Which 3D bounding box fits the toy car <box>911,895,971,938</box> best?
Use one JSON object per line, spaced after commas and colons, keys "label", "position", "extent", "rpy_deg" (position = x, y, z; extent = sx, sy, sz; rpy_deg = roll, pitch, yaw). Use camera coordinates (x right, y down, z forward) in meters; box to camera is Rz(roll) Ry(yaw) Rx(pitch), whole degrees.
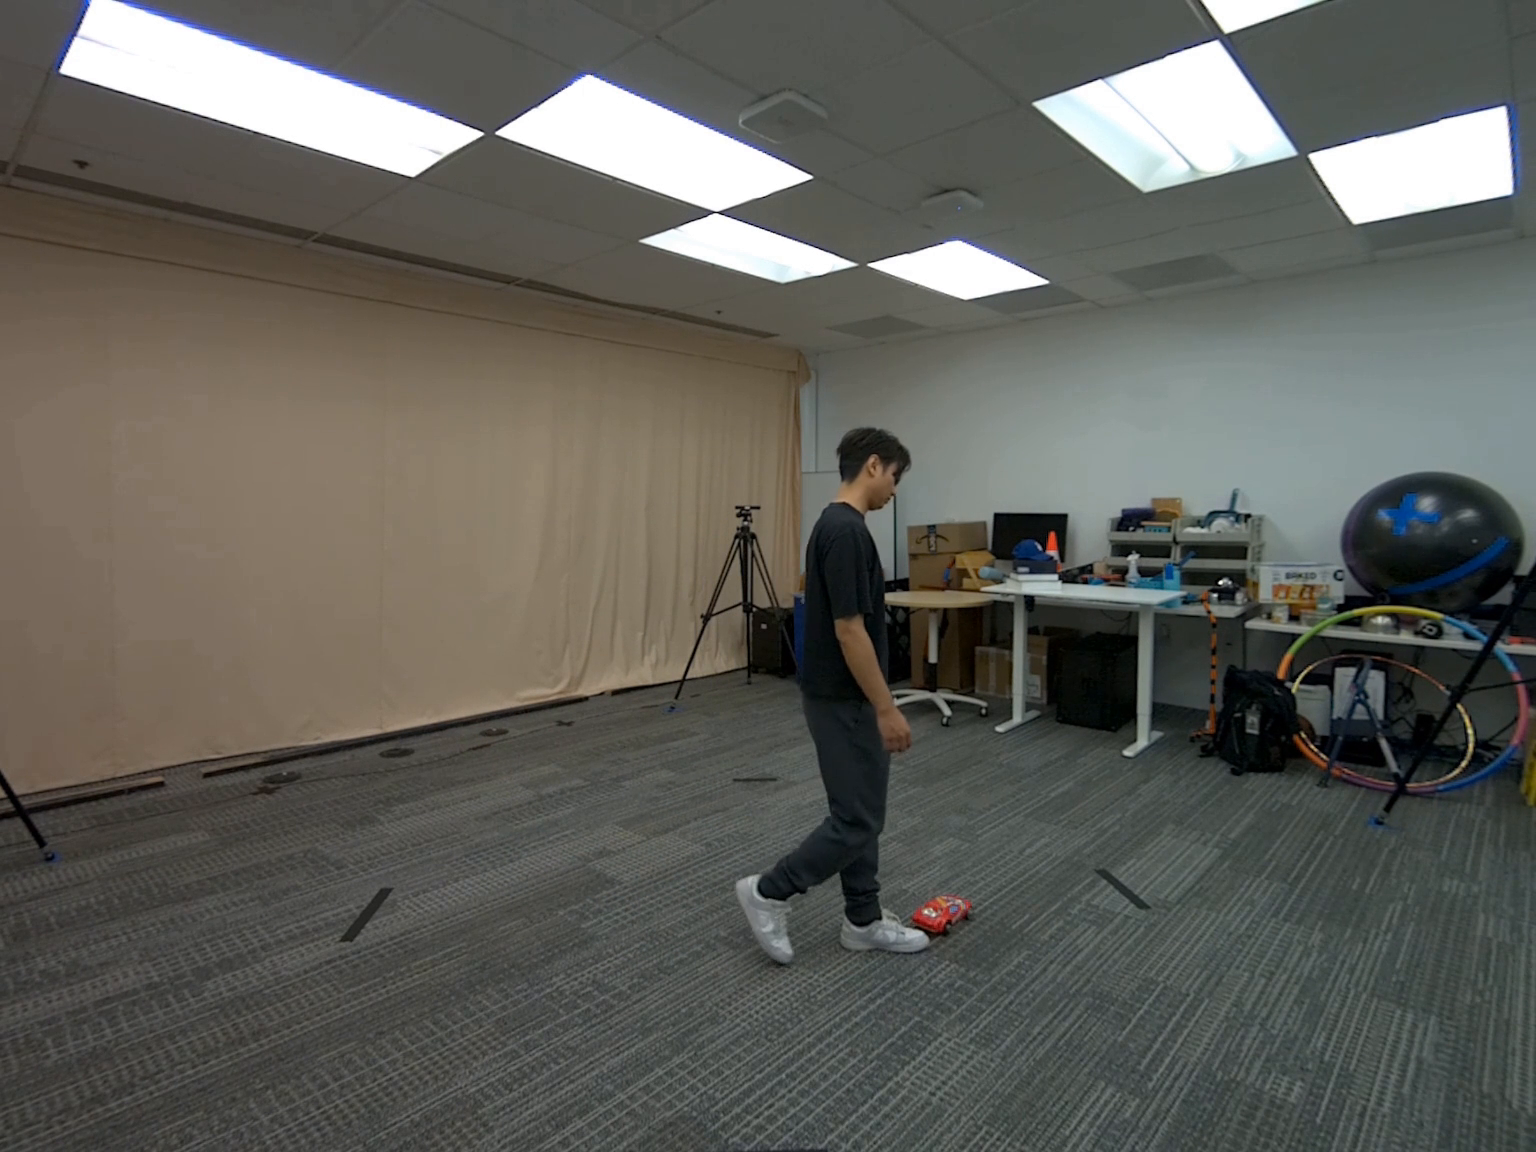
{"label": "toy car", "position": [0.582, 1.126, 2.794], "extent": [0.135, 0.083, 0.246], "rpy_deg": [4, -5, 45]}
